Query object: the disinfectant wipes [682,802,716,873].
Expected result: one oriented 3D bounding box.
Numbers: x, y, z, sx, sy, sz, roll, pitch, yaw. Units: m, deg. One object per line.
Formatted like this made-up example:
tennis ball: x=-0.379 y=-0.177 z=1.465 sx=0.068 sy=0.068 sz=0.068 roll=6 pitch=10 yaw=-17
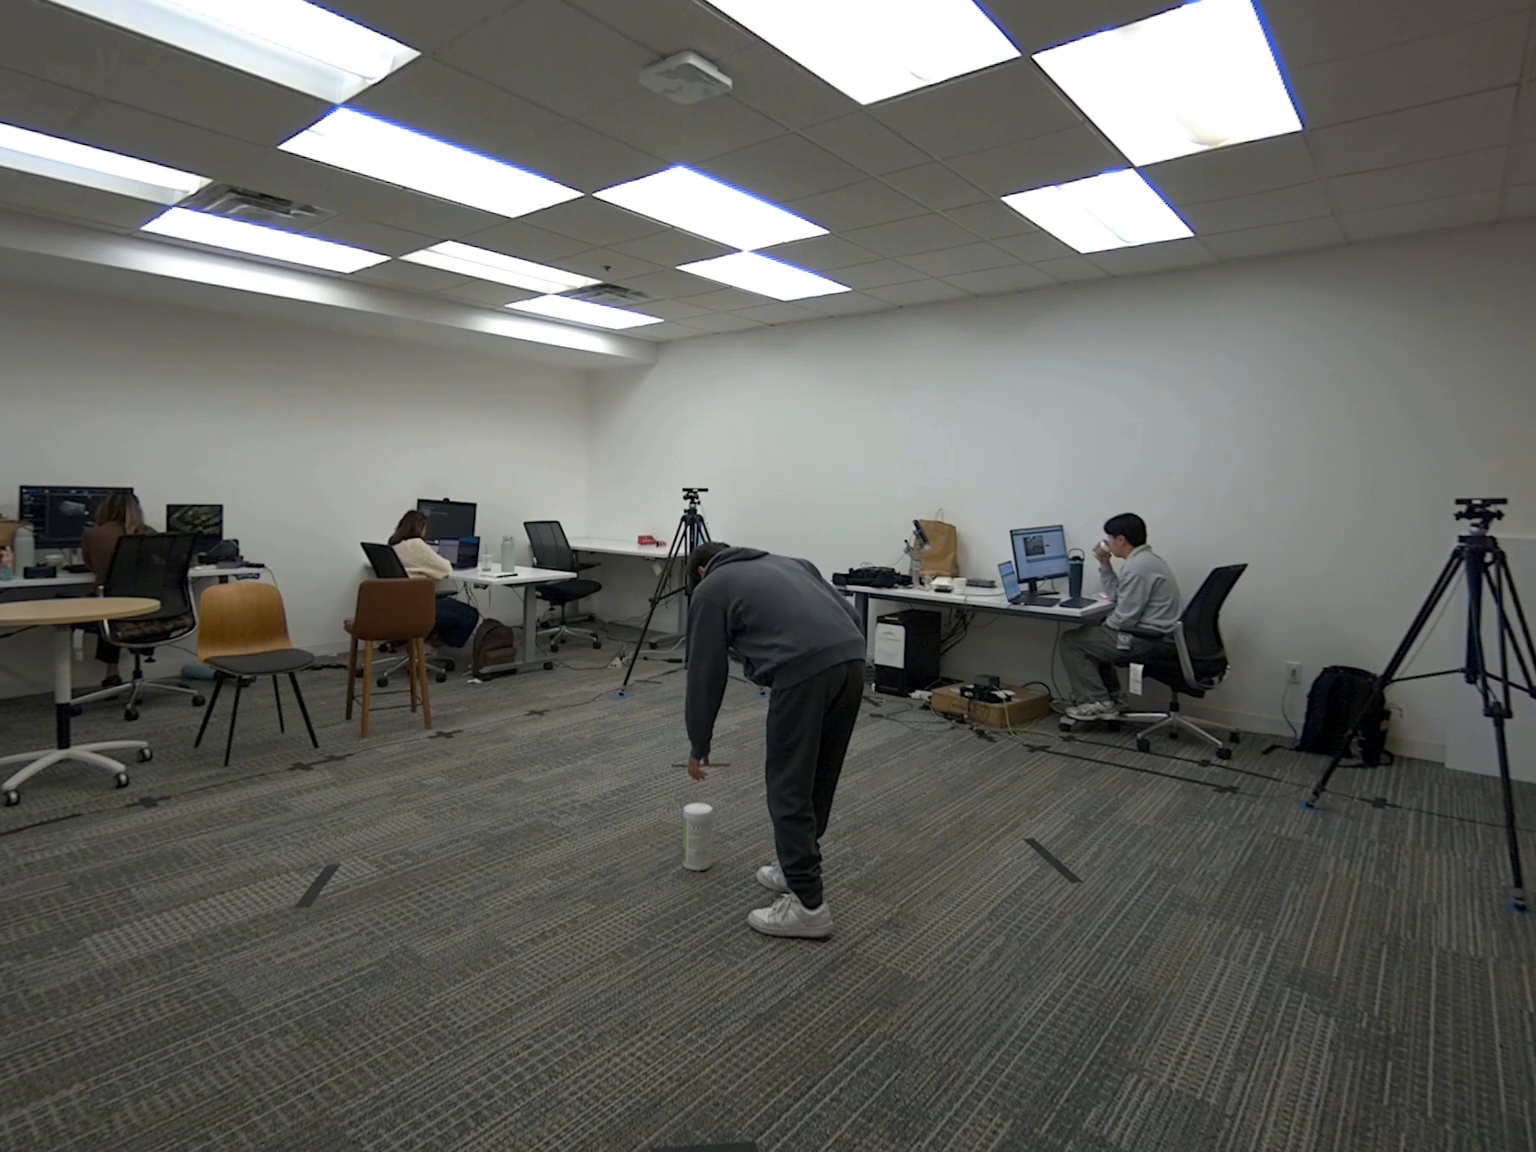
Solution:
disinfectant wipes: x=-0.265 y=0.958 z=3.137 sx=0.118 sy=0.217 sz=0.118 roll=1 pitch=3 yaw=-2
